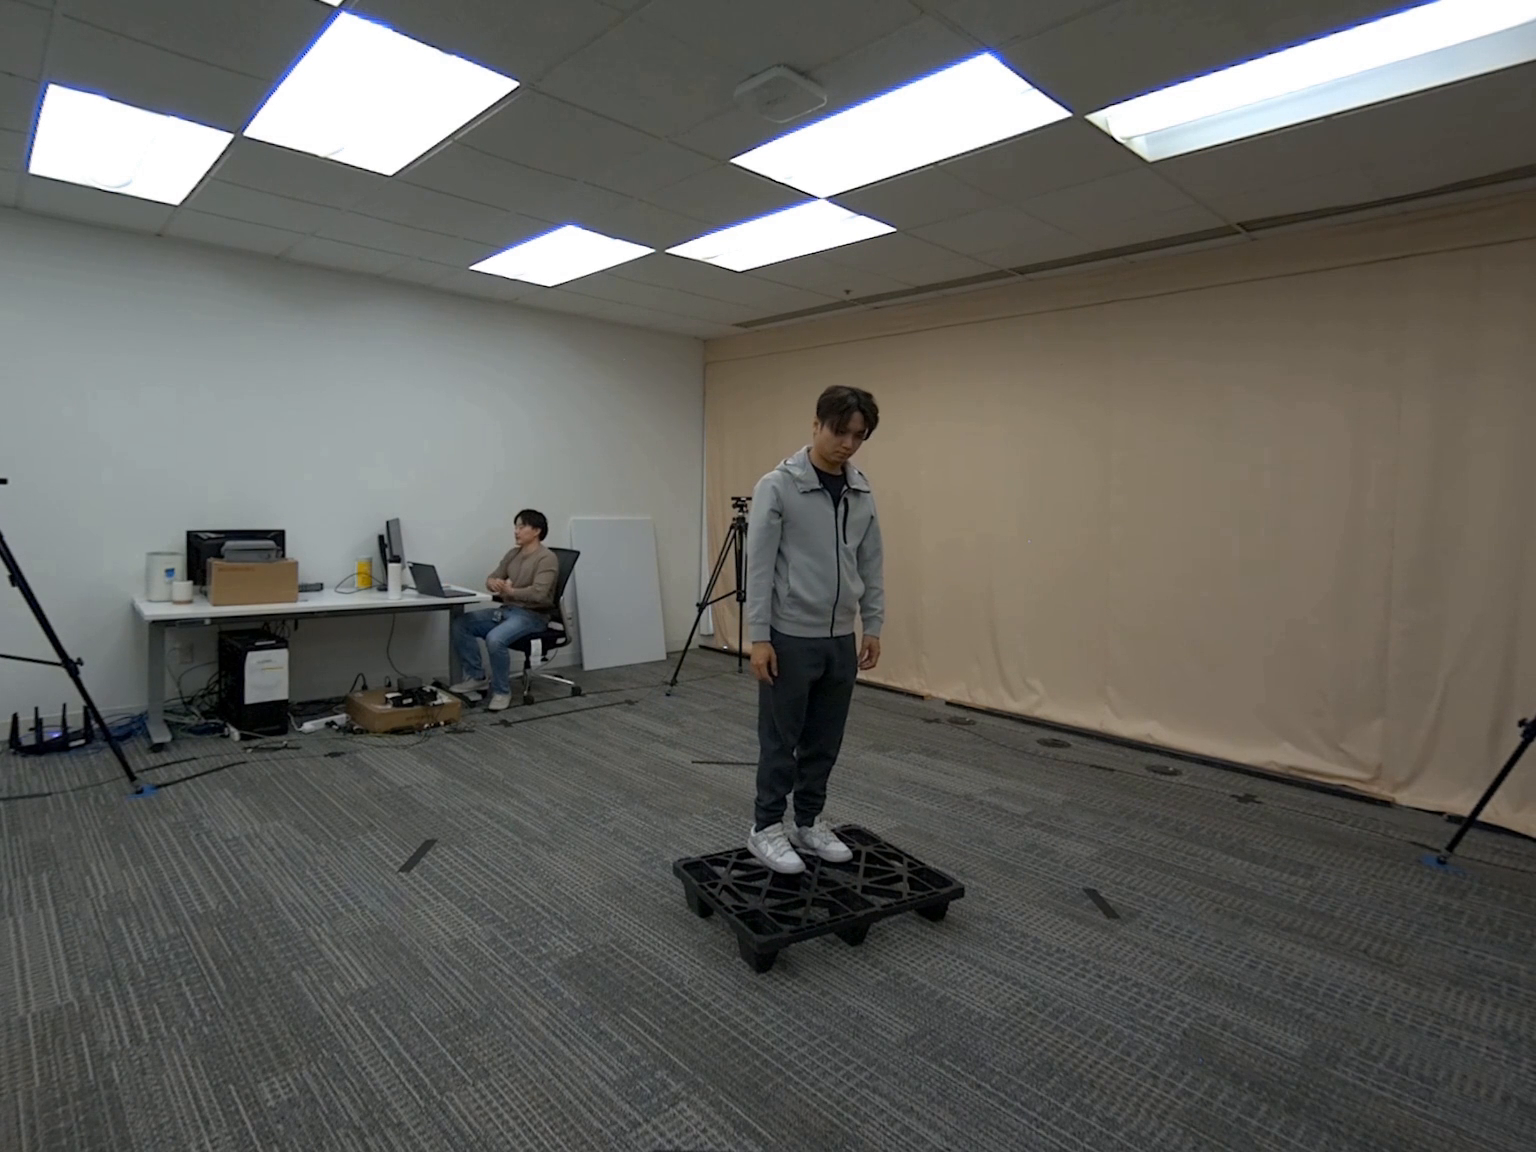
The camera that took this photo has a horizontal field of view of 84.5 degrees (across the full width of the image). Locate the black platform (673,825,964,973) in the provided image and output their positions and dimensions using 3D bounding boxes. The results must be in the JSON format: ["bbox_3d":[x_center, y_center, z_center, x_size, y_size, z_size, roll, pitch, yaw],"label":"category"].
[{"bbox_3d":[0.147,1.071,2.845,0.789,0.143,0.619,-1,5,-30],"label":"black platform"}]
